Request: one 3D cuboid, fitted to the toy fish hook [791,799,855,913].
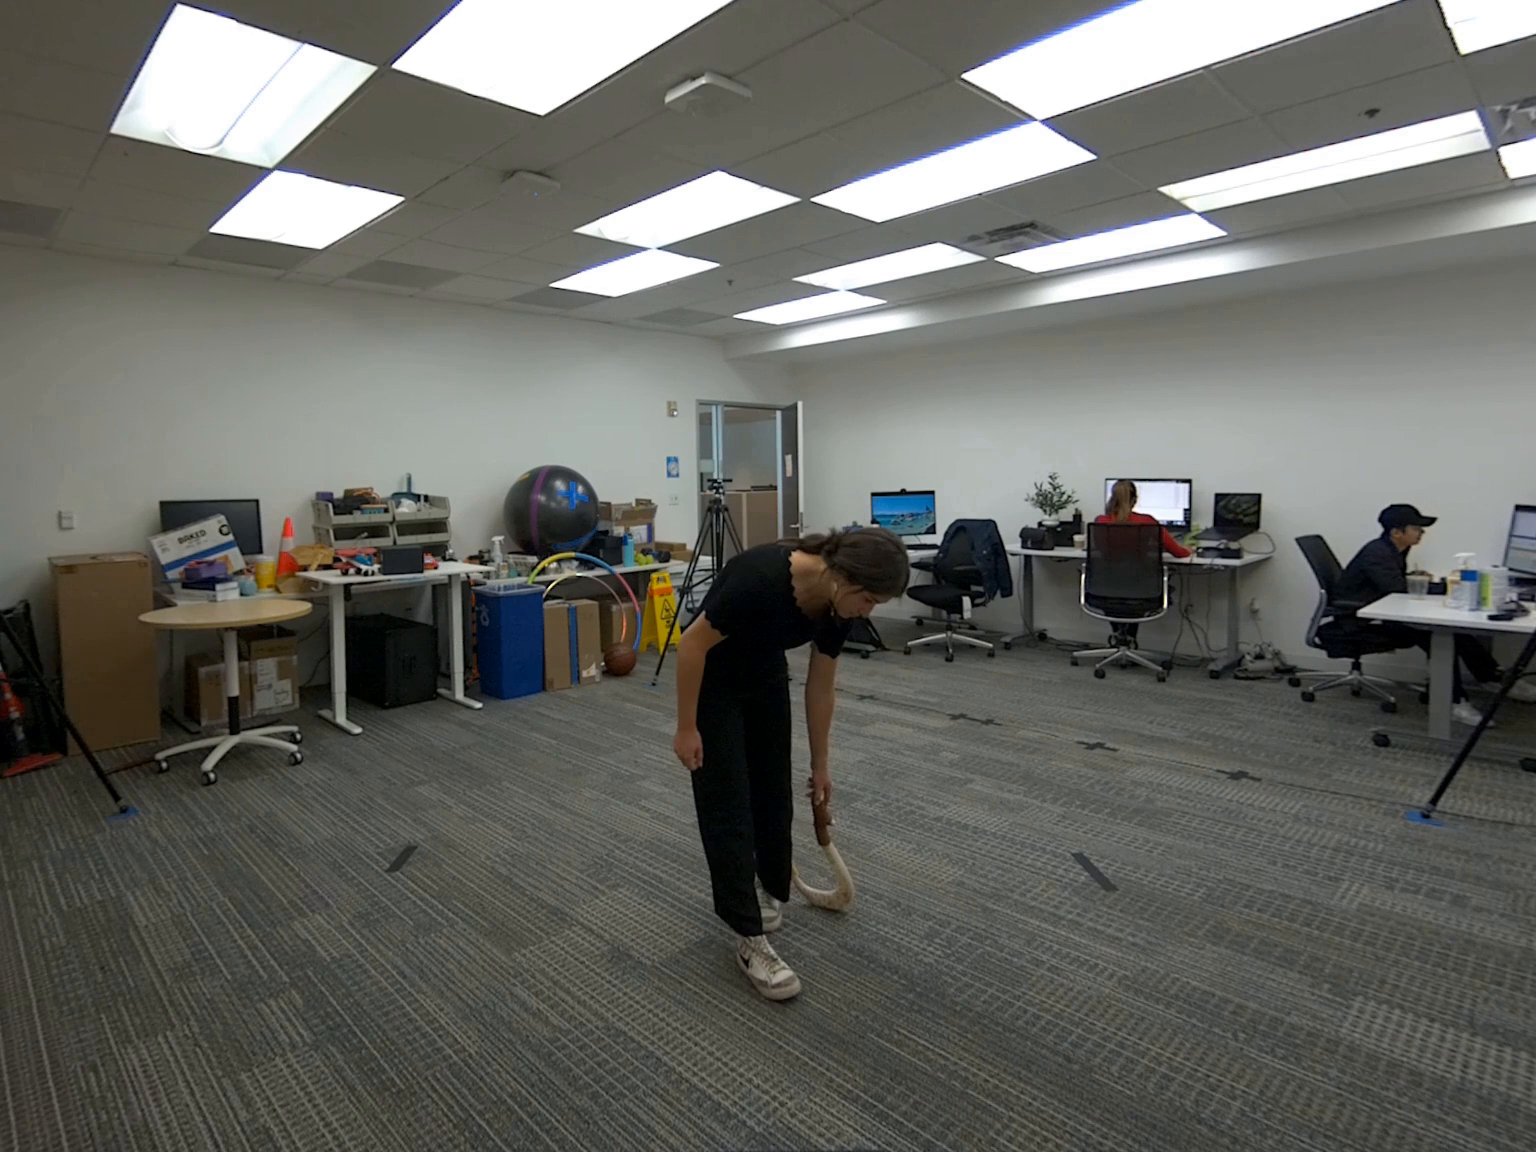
[{"bbox_3d":[0.142,0.858,2.673,0.229,0.494,0.048,0,27,23],"label":"toy fish hook"}]
